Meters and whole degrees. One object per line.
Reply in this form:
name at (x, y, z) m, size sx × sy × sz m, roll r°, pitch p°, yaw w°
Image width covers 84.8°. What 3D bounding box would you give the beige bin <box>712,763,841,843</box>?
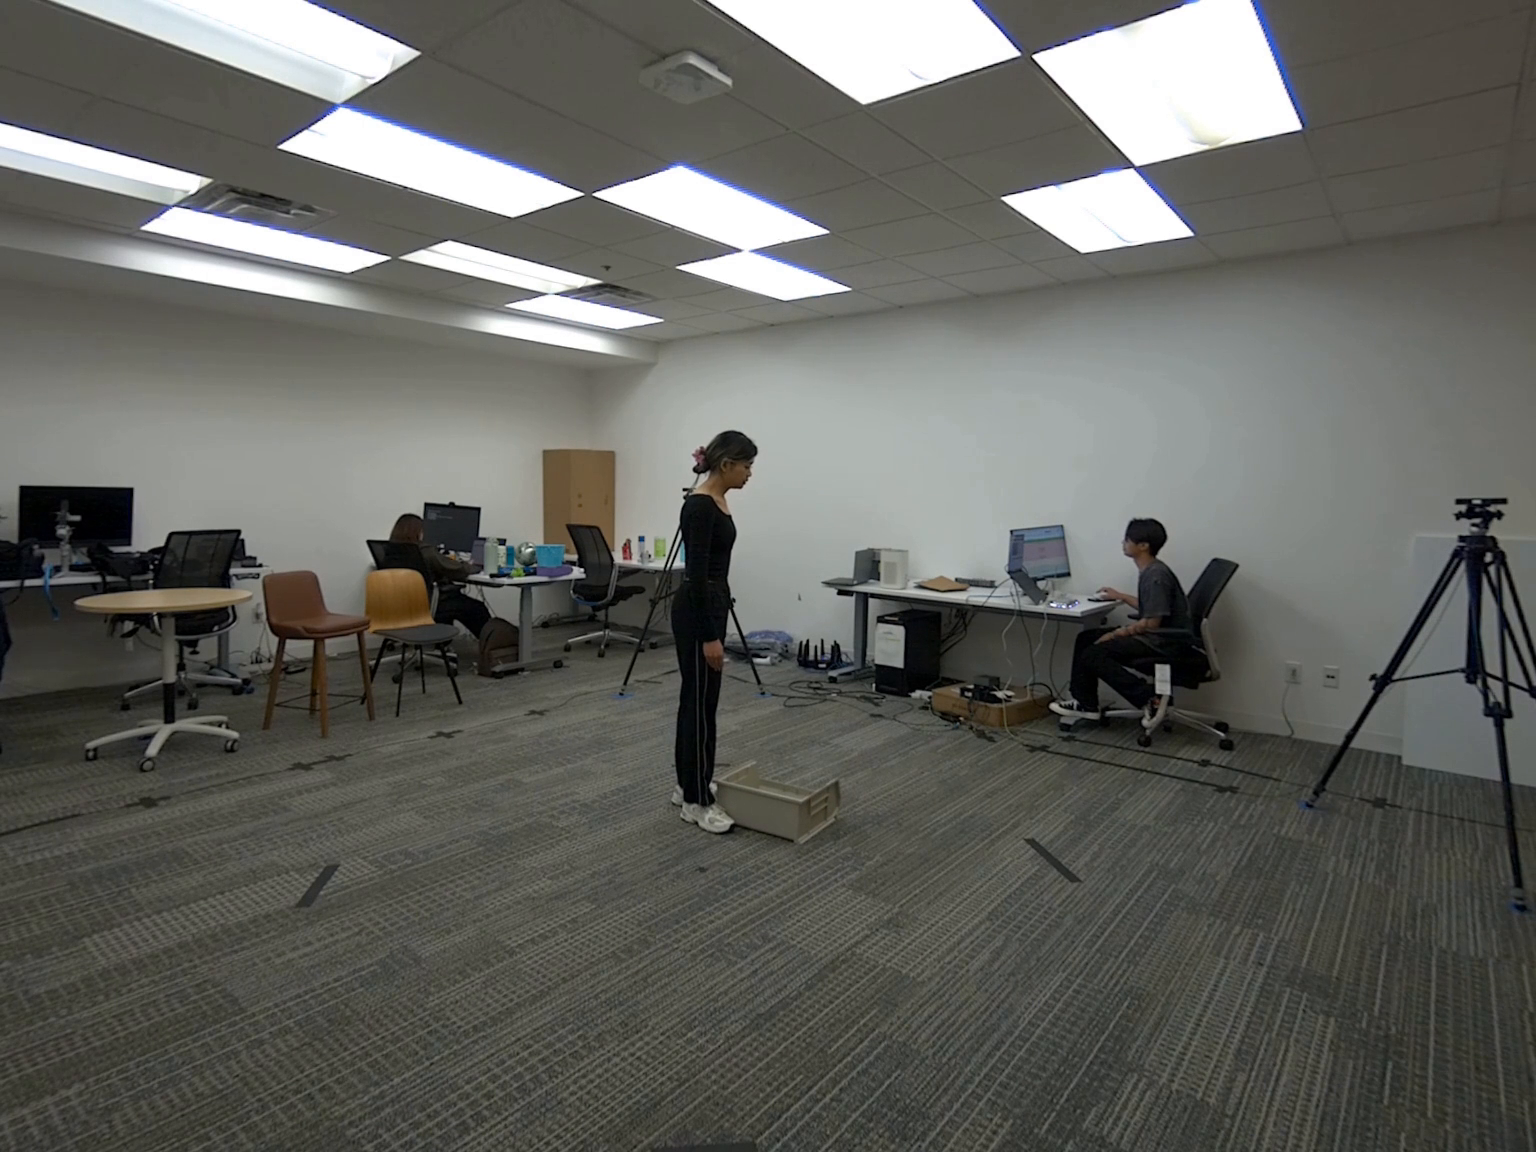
beige bin at (0.031, 0.938, 3.597) m, size 0.435 × 0.188 × 0.368 m, roll 4°, pitch 7°, yaw 30°
